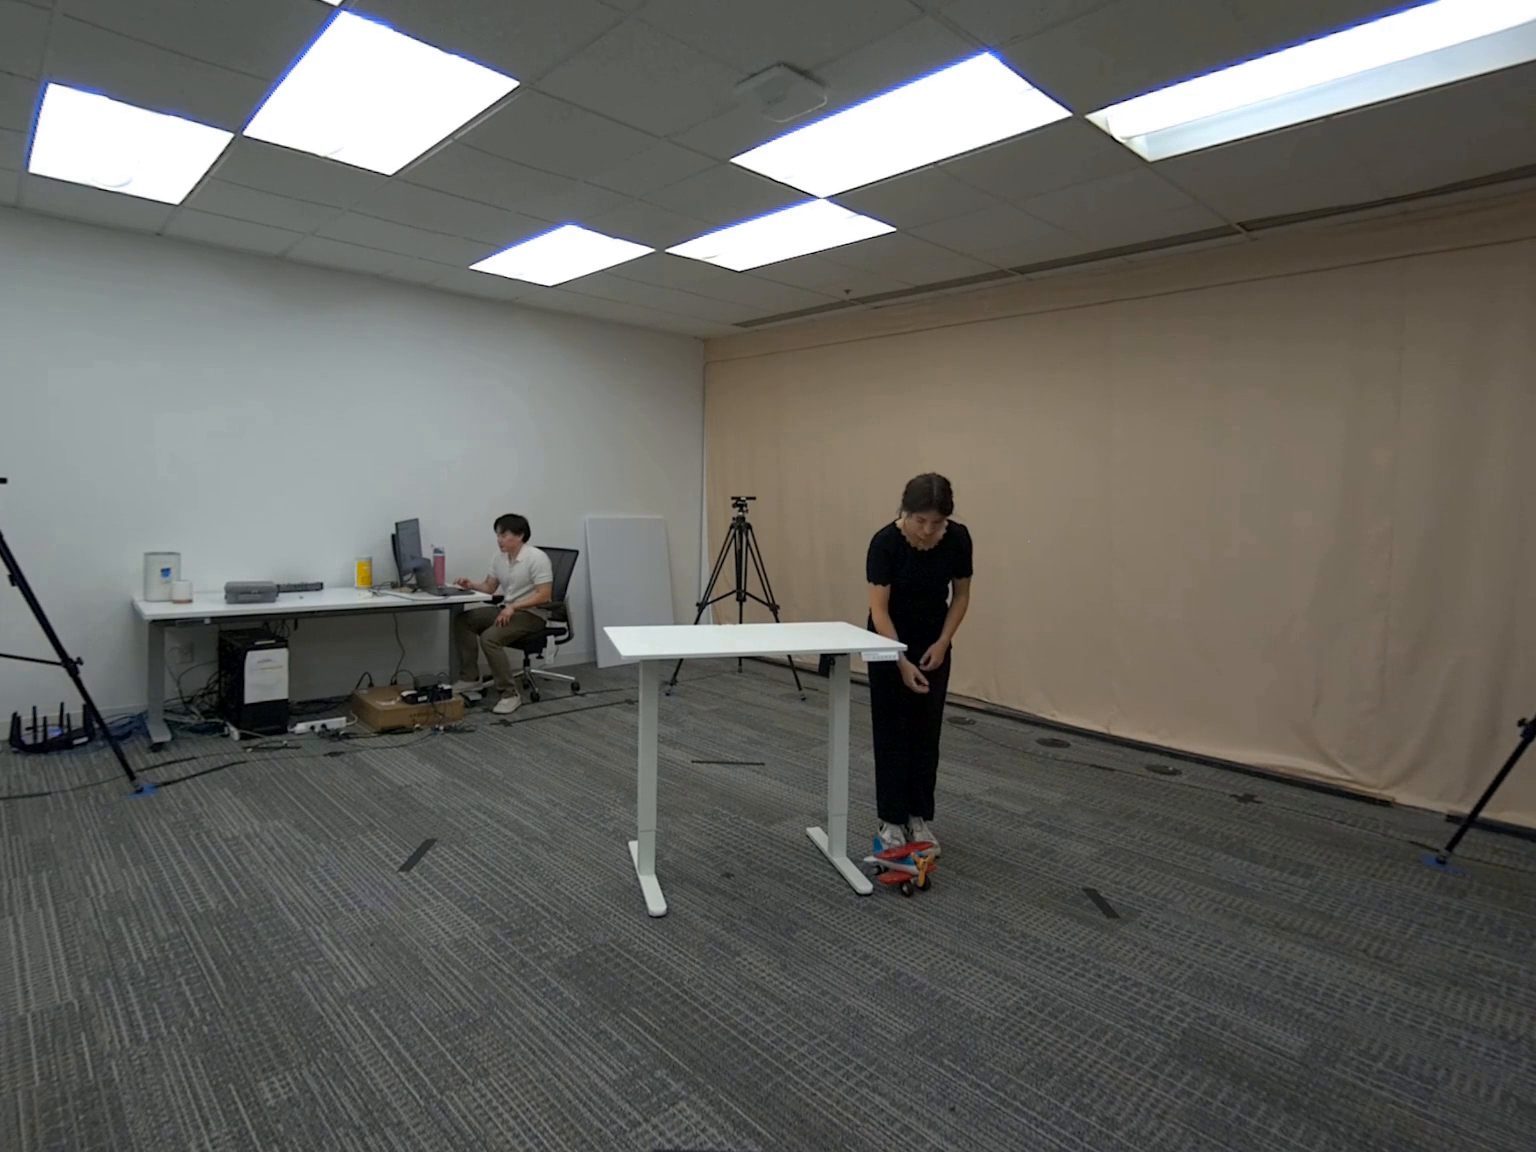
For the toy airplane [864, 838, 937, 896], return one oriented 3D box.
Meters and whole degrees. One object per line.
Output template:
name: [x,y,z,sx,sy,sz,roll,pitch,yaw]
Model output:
toy airplane: [0.449,1.050,3.061,0.265,0.156,0.247,6,6,26]
